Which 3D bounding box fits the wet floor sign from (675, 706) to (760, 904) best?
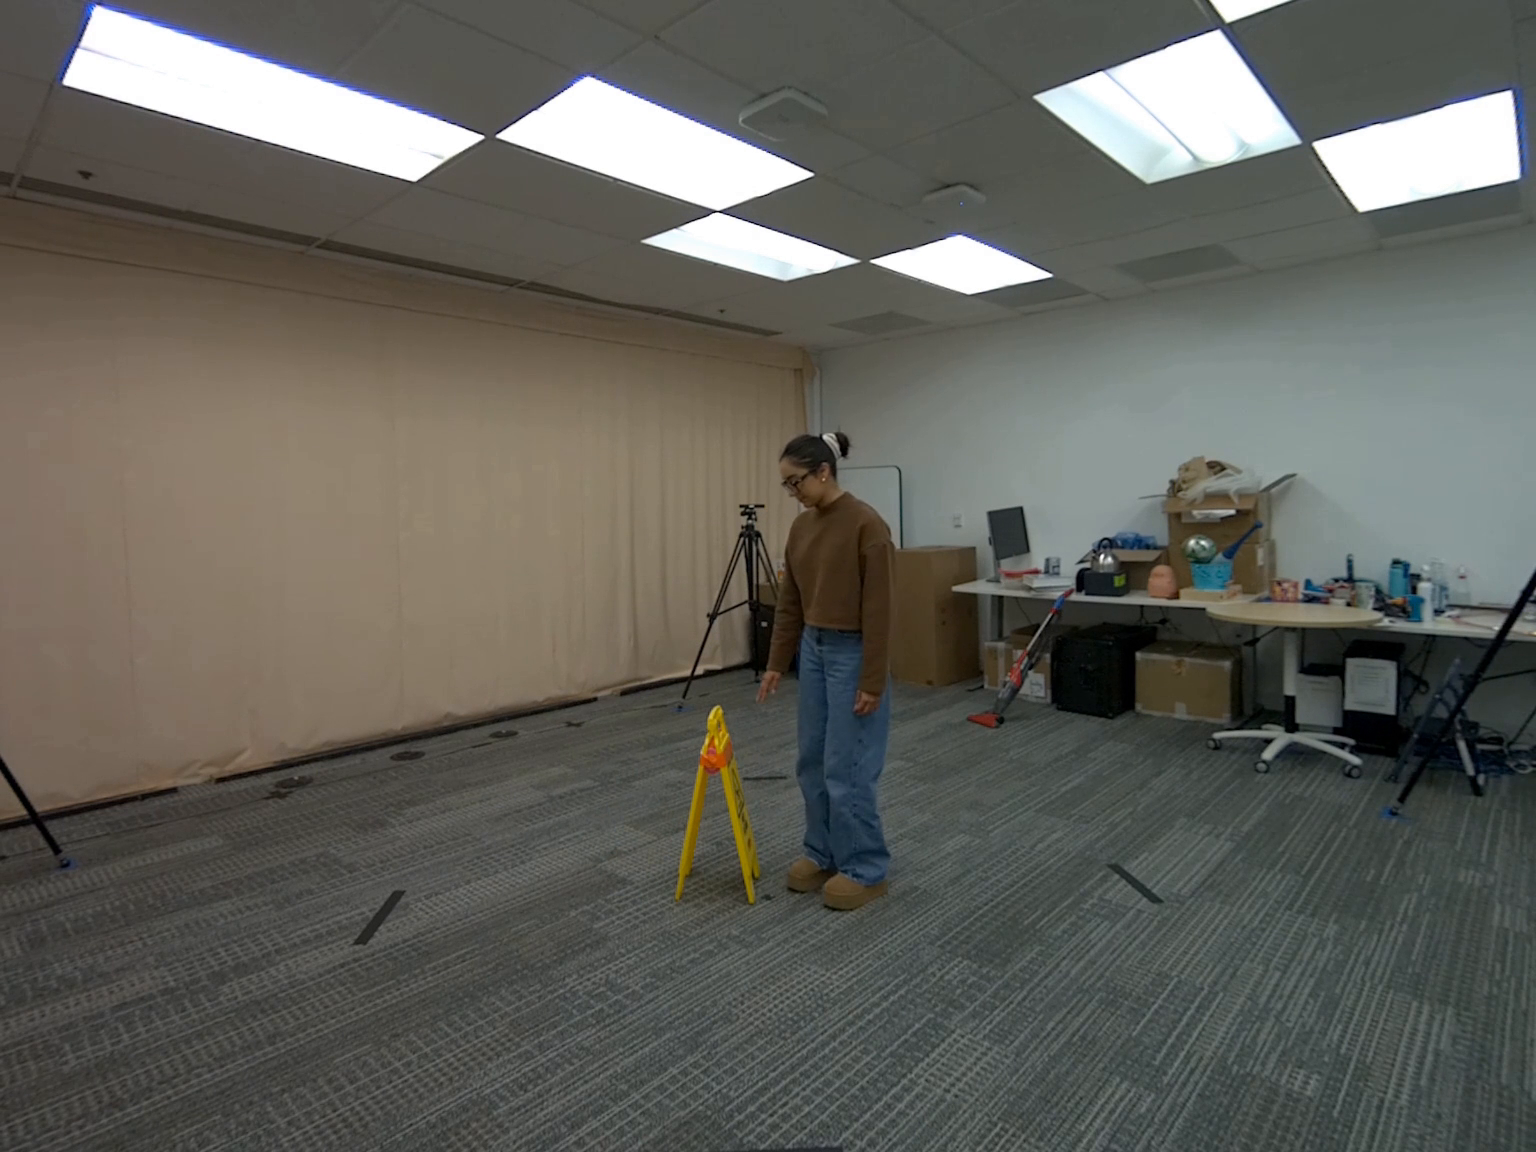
[{"bbox_3d":[-0.184,0.821,3.061,0.292,0.645,0.280,-2,2,6],"label":"wet floor sign"}]
